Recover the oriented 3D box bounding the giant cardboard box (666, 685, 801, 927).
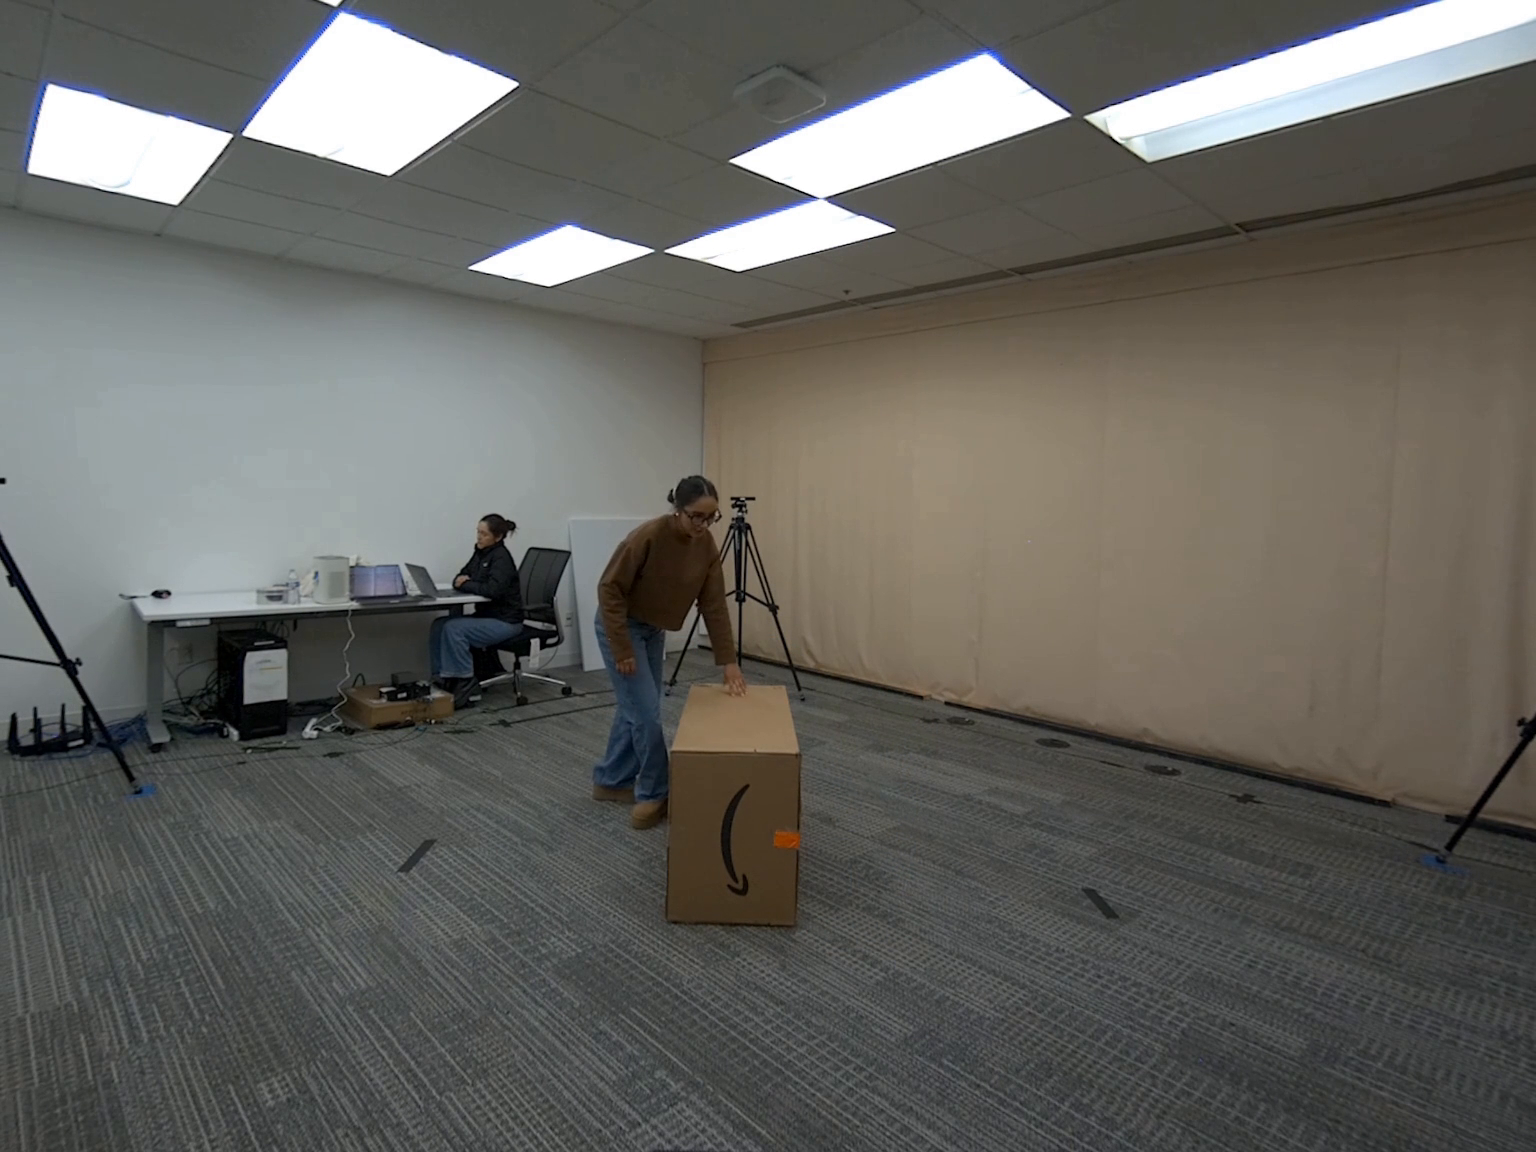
[{"bbox_3d":[-0.125,0.810,3.231,0.447,0.582,1.029,0,4,0],"label":"giant cardboard box"}]
